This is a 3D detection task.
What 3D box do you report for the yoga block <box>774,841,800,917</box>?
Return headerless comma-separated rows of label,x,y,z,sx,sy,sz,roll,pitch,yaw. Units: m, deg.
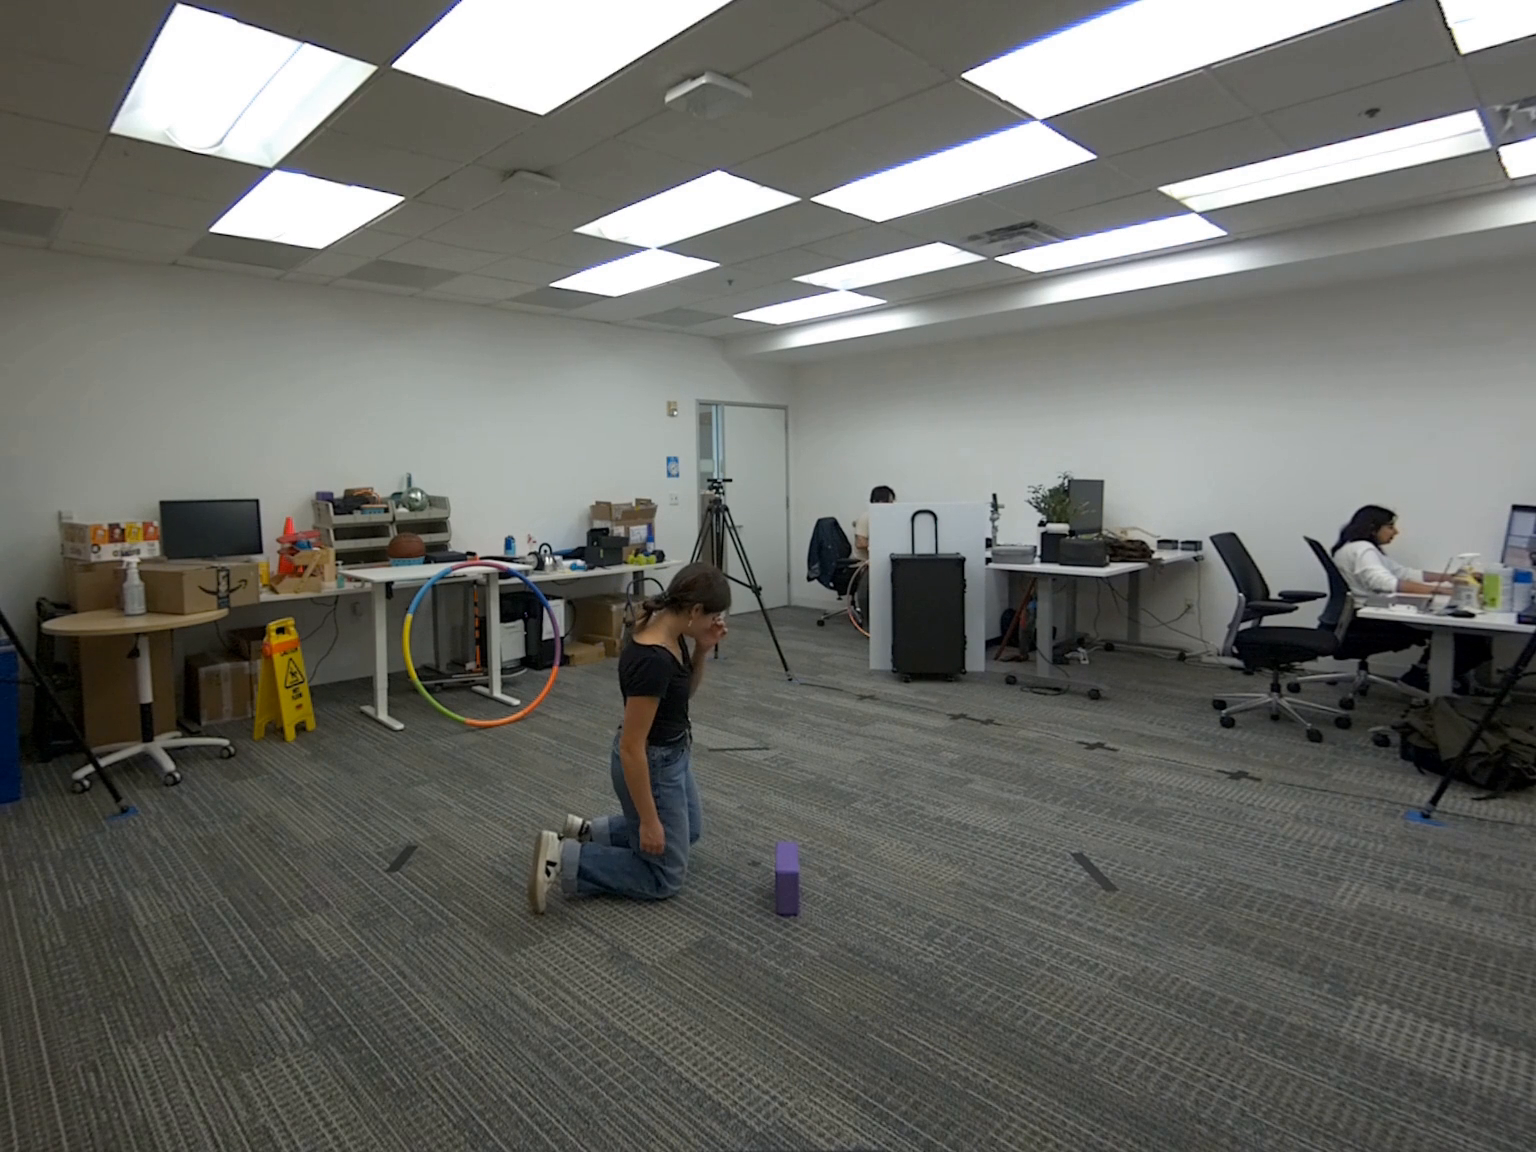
yoga block,0.061,0.996,2.830,0.076,0.148,0.229,0,5,1
